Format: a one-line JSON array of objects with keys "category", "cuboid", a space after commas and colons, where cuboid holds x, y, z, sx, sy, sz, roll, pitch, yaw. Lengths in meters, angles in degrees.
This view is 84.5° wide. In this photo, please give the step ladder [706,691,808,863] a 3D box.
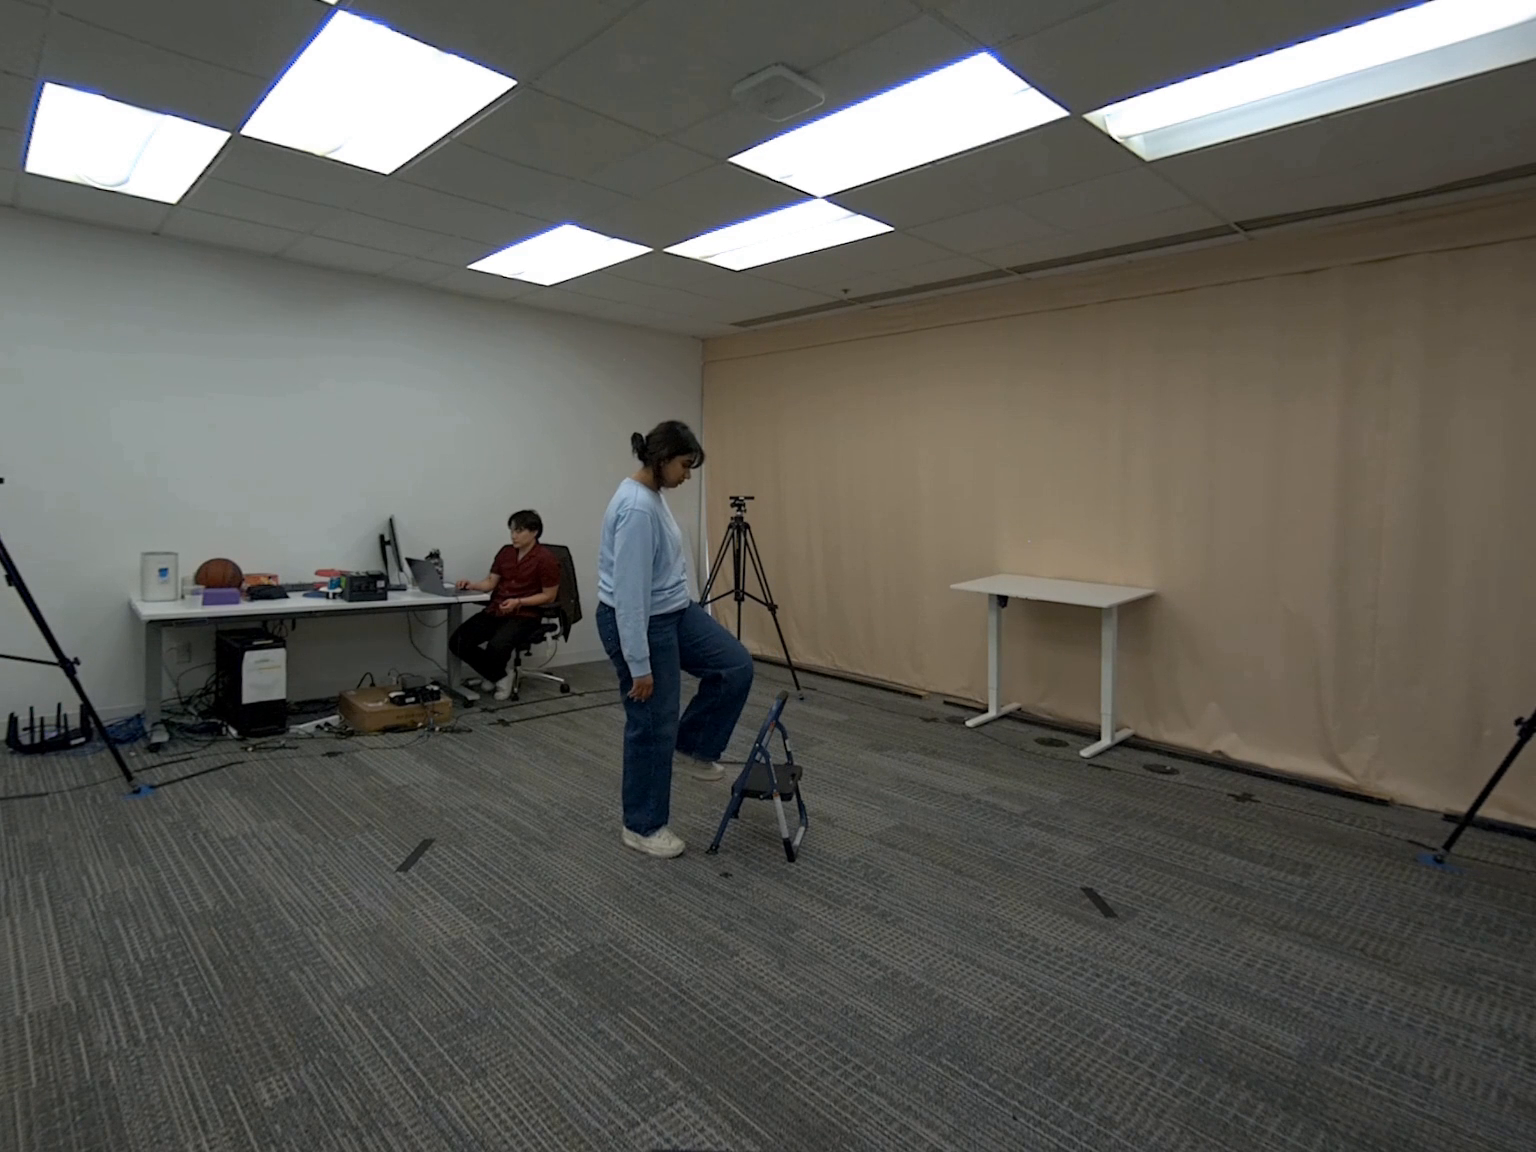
[{"category": "step ladder", "cuboid": [-0.030, 0.775, 3.443, 0.353, 0.604, 0.427, 1, 4, 11]}]
